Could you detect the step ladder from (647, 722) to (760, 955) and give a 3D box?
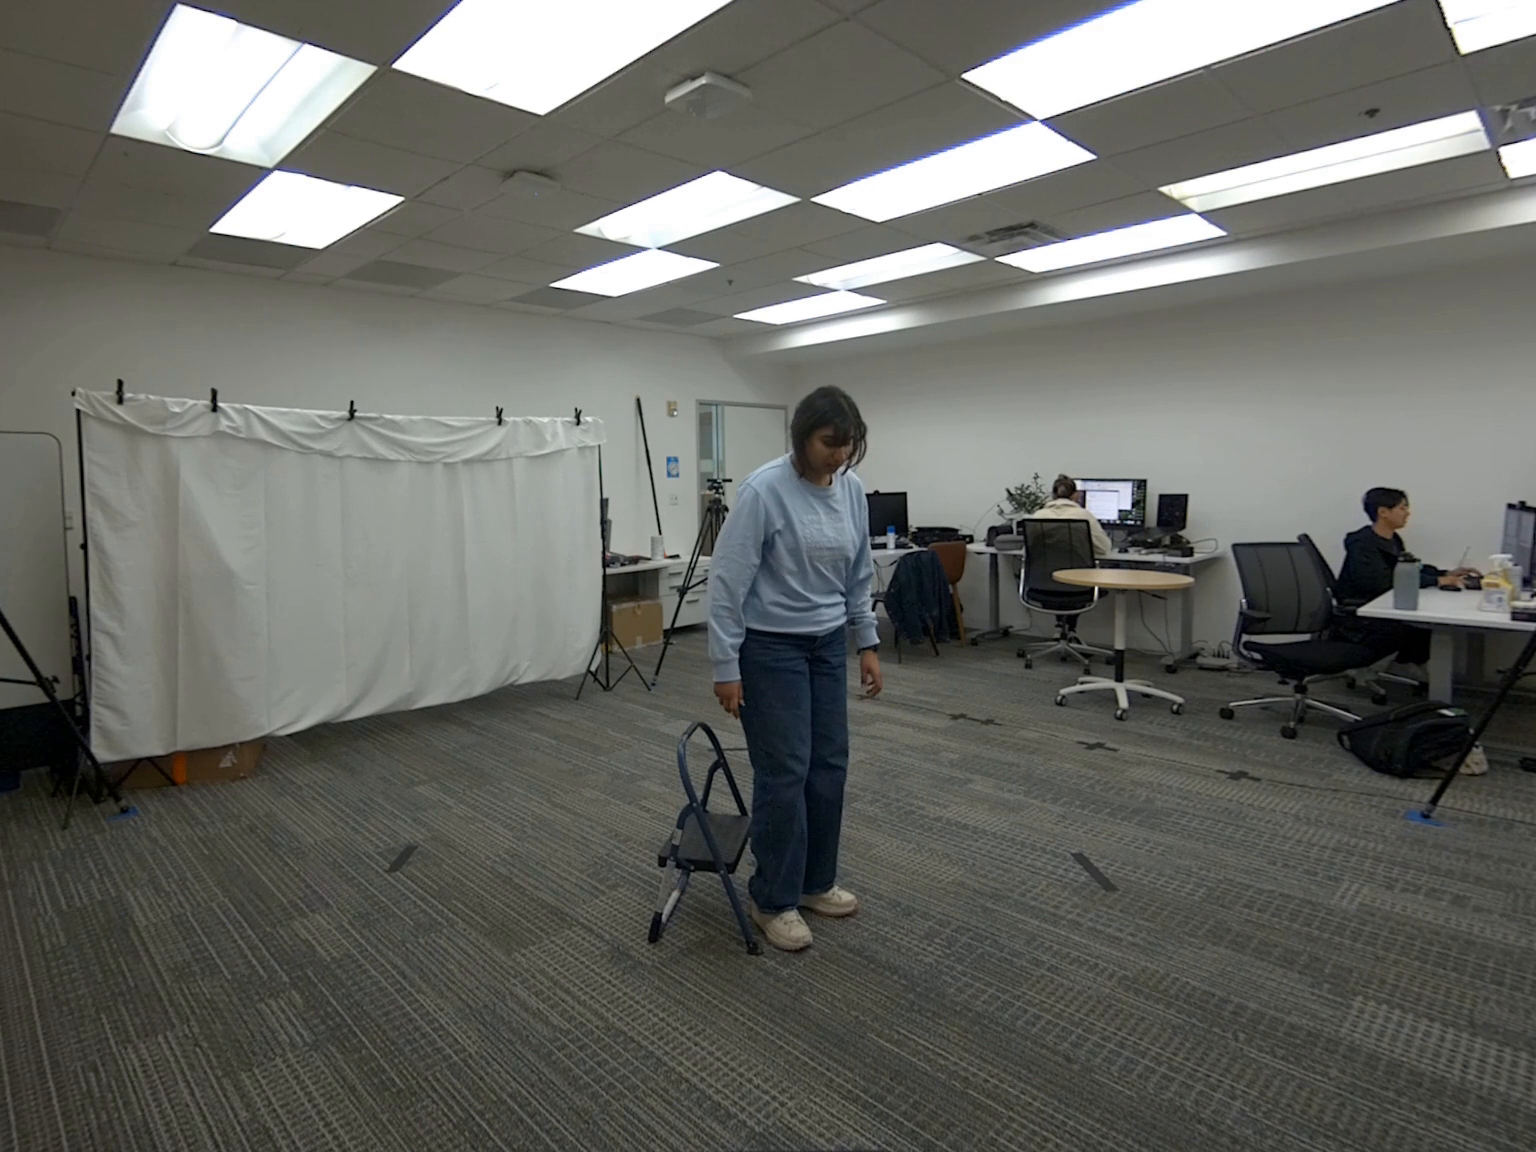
[{"bbox_3d":[-0.164,0.790,2.728,0.353,0.604,0.428,1,5,10],"label":"step ladder"}]
